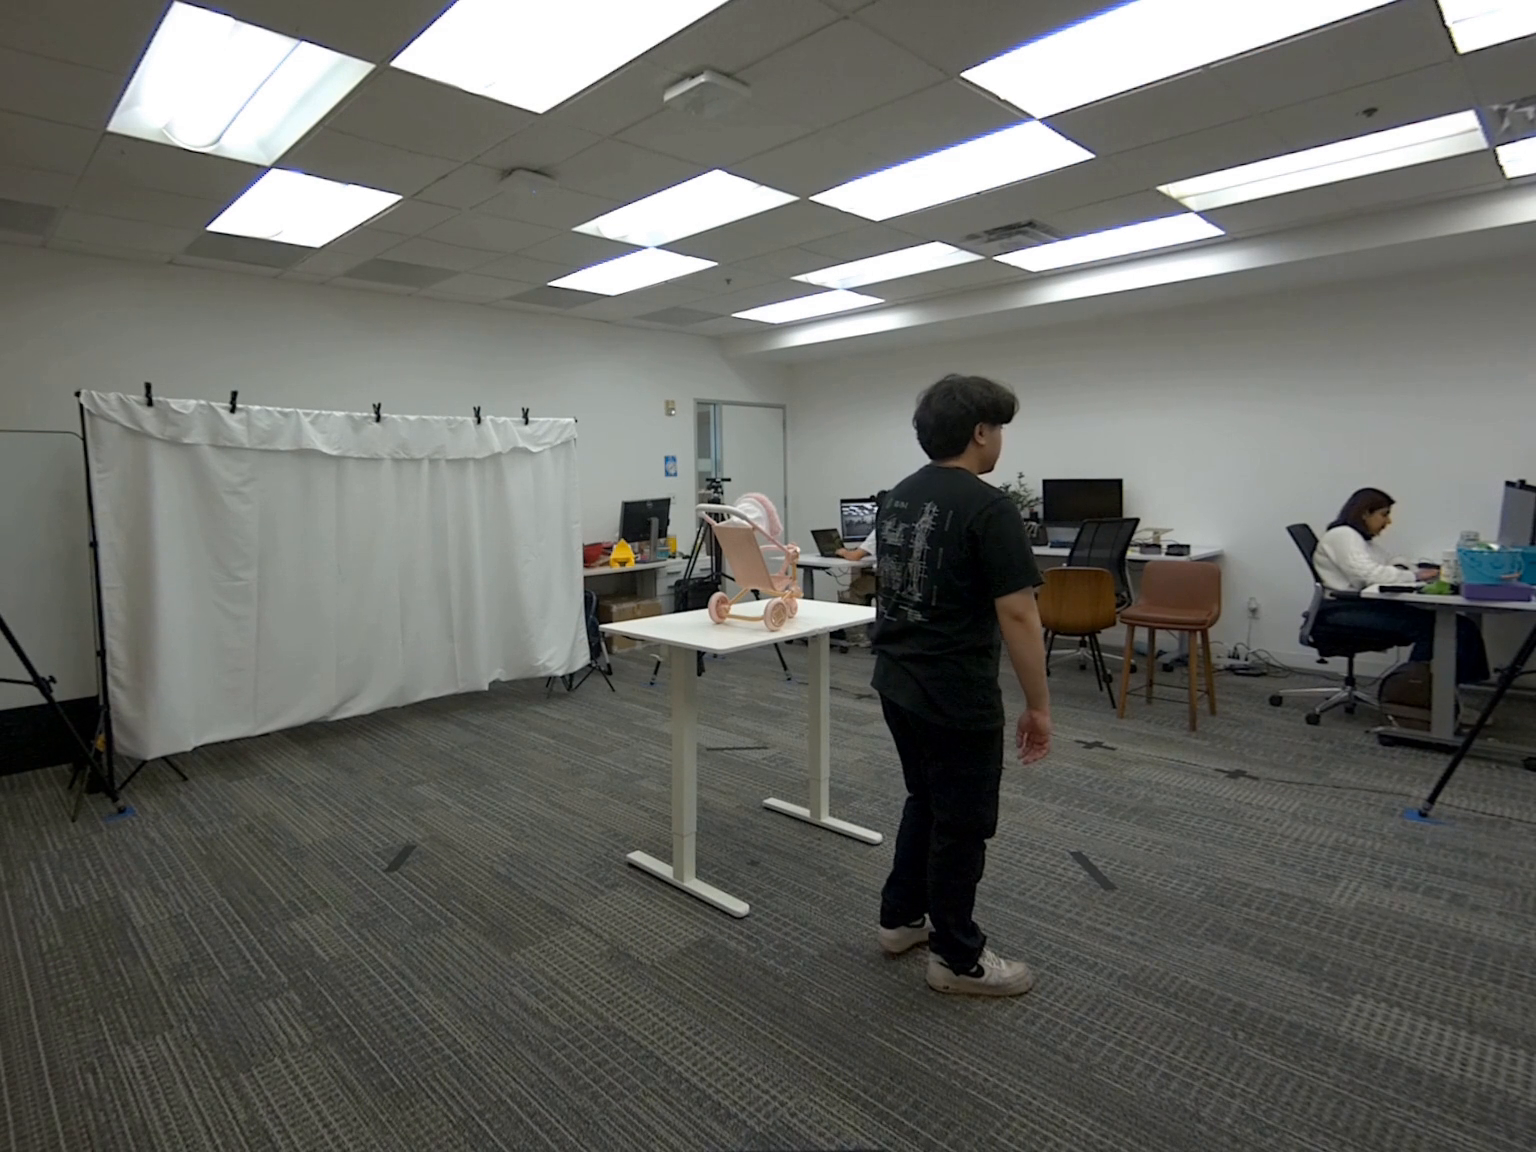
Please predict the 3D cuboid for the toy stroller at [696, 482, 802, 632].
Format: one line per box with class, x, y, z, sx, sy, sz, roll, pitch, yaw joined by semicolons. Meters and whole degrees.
toy stroller;-0.032;-0.050;2.985;0.290;0.526;0.336;5;23;43
